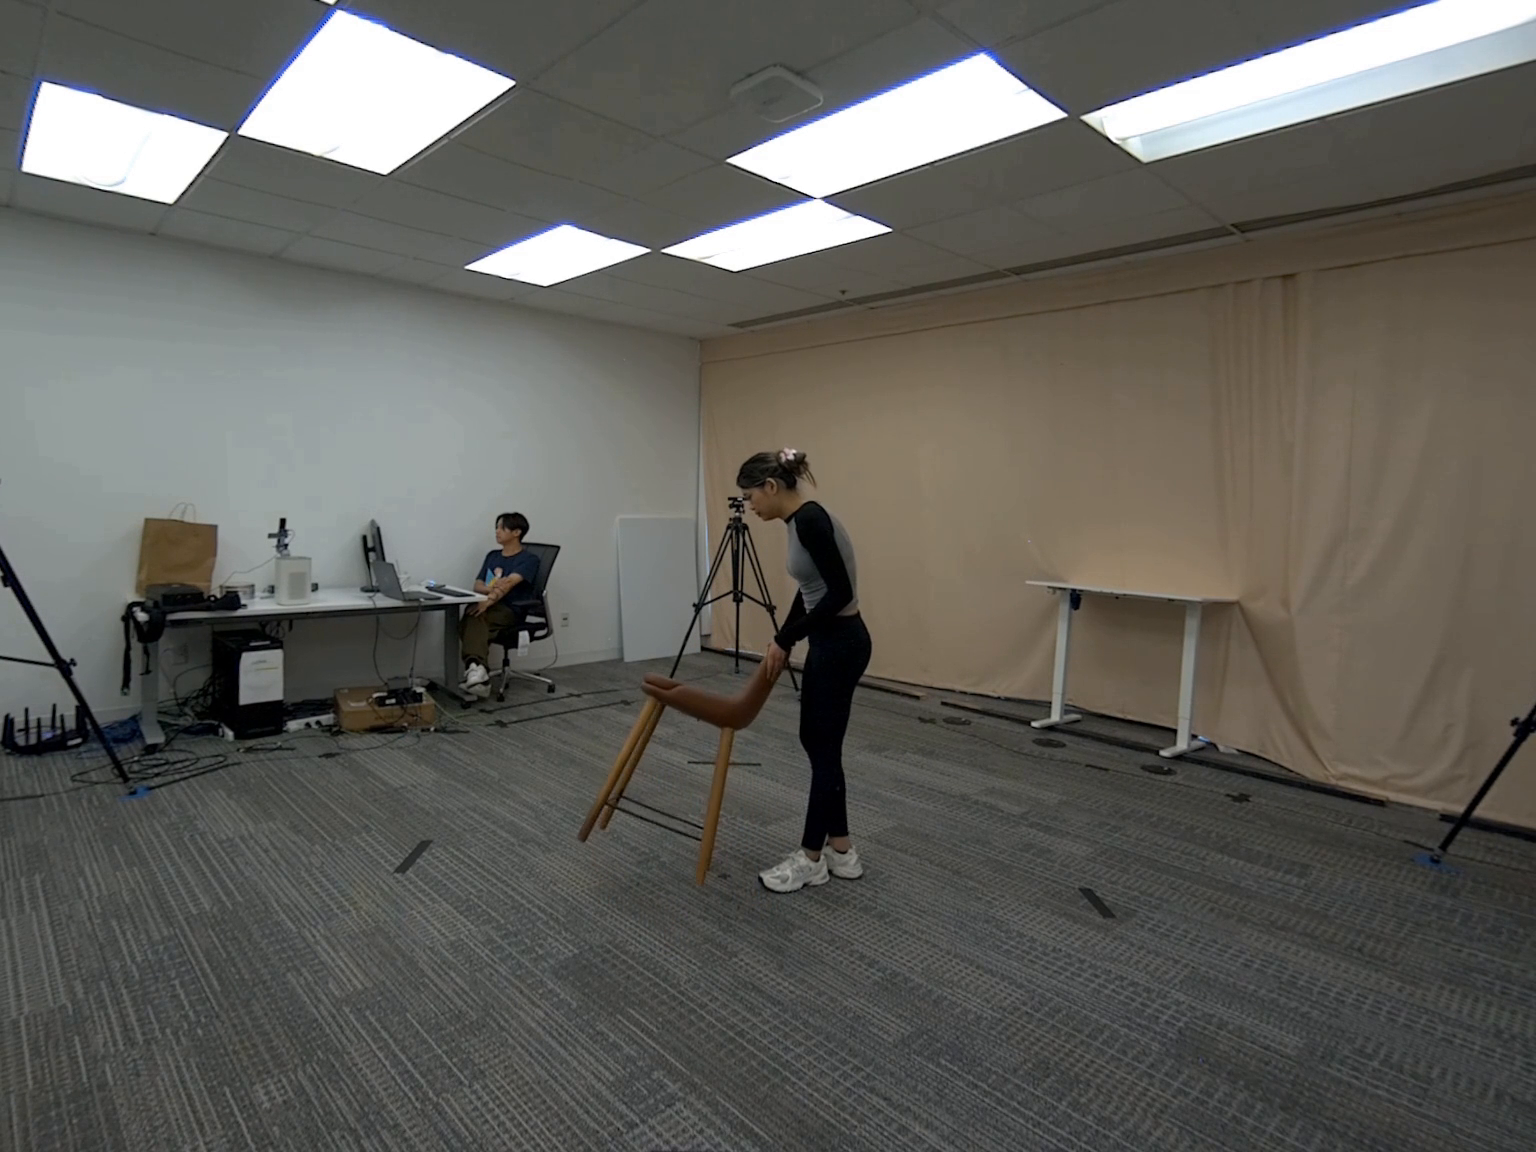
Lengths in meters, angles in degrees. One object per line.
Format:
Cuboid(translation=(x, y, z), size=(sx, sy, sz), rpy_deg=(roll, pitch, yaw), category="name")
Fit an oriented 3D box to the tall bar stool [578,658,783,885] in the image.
Cuboid(translation=(-0.296, 0.605, 3.083), size=(0.470, 0.894, 0.451), rpy_deg=(20, -12, 5), category="tall bar stool")
